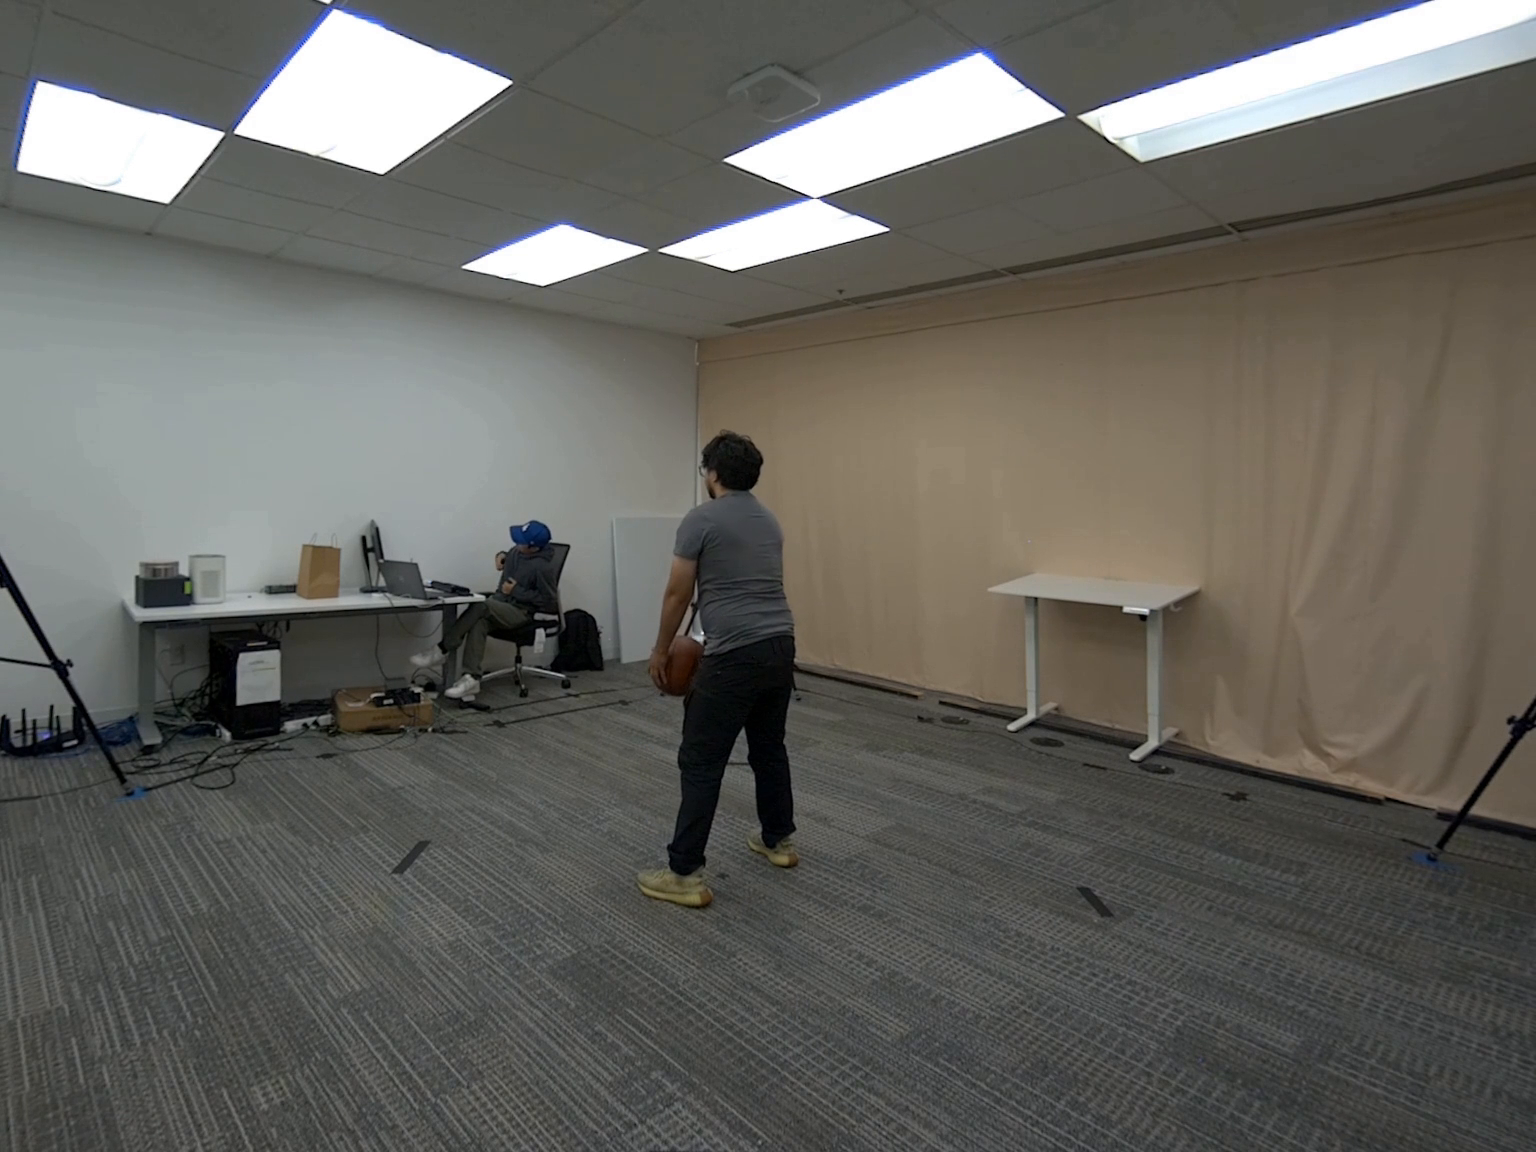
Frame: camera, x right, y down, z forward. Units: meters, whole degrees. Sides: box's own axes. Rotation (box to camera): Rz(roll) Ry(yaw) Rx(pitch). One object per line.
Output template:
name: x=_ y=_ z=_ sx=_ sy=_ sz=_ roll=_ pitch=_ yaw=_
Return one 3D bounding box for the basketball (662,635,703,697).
basketball: x=-0.353 y=0.353 z=3.305 sx=0.236 sy=0.235 sz=0.237 roll=1 pitch=4 yaw=-1
